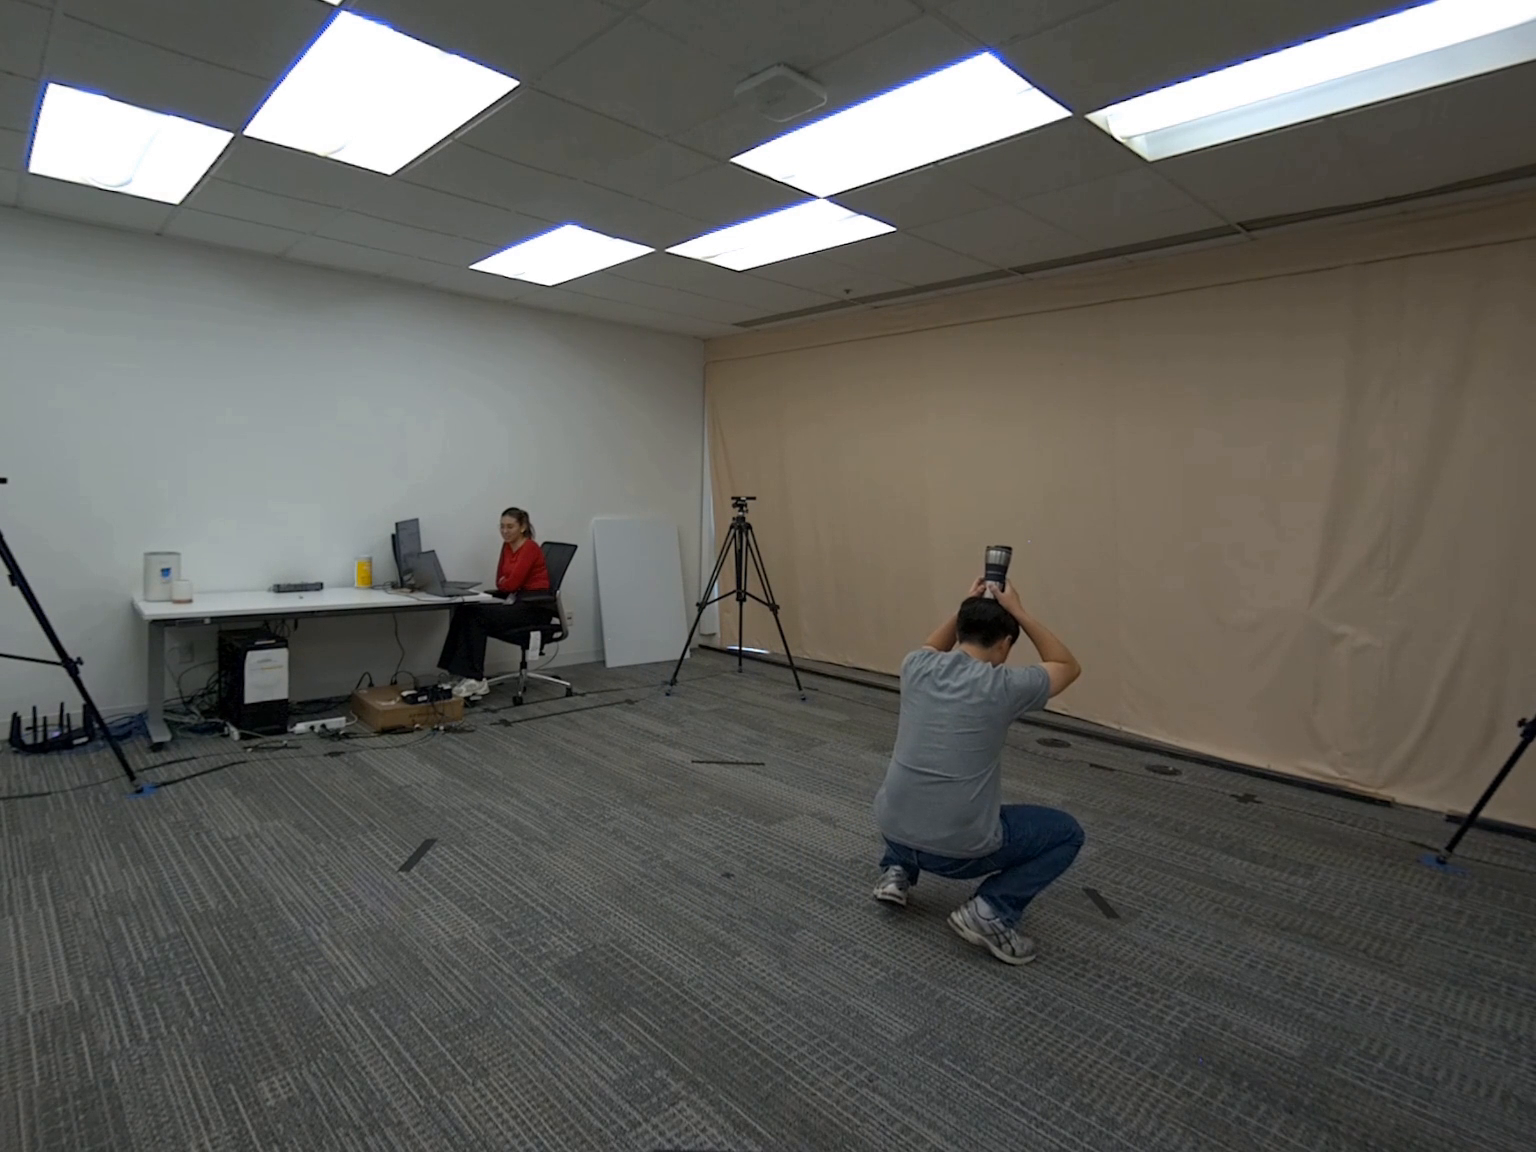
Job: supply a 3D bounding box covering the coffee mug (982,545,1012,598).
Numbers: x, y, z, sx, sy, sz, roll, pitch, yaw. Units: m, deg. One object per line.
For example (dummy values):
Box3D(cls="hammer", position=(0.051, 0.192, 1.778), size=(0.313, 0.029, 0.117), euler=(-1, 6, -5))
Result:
Box3D(cls="coffee mug", position=(0.803, 0.001, 2.926), size=(0.090, 0.204, 0.118), euler=(1, -10, 37))
